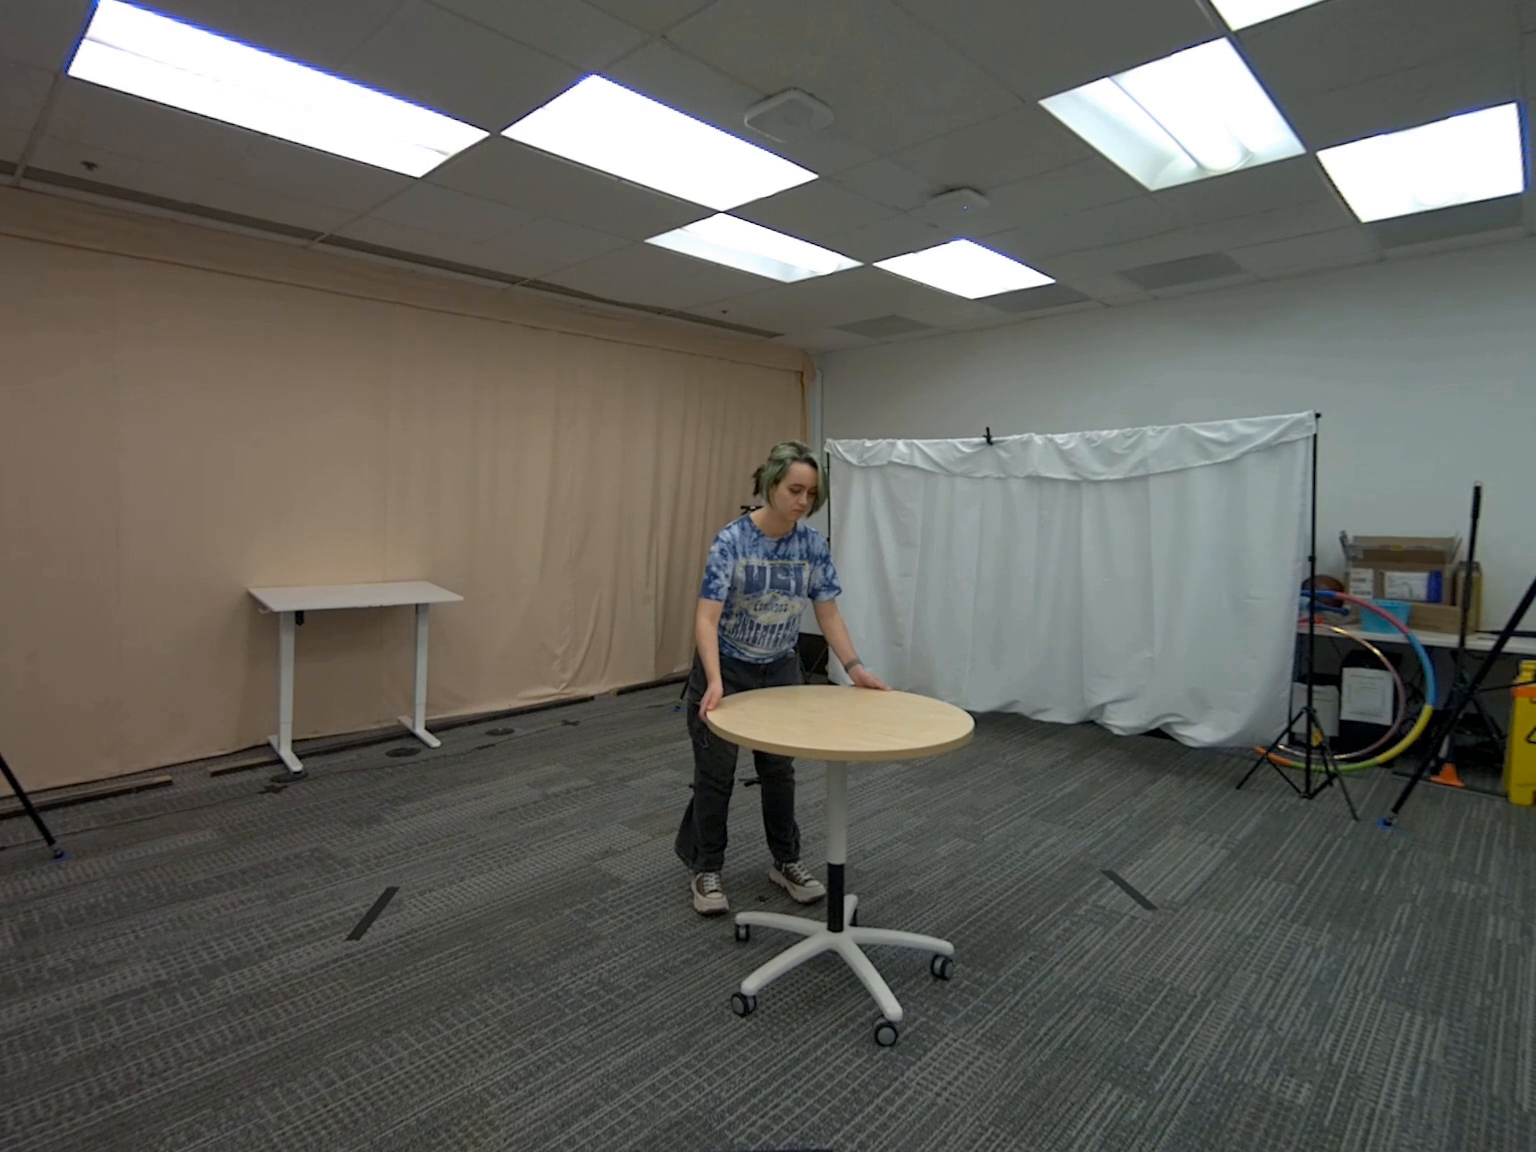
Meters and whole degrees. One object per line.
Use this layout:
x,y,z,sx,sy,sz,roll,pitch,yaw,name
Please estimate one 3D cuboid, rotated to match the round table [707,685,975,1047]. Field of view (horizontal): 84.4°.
0.201,0.796,2.482,0.763,0.792,0.766,0,4,-2,round table
